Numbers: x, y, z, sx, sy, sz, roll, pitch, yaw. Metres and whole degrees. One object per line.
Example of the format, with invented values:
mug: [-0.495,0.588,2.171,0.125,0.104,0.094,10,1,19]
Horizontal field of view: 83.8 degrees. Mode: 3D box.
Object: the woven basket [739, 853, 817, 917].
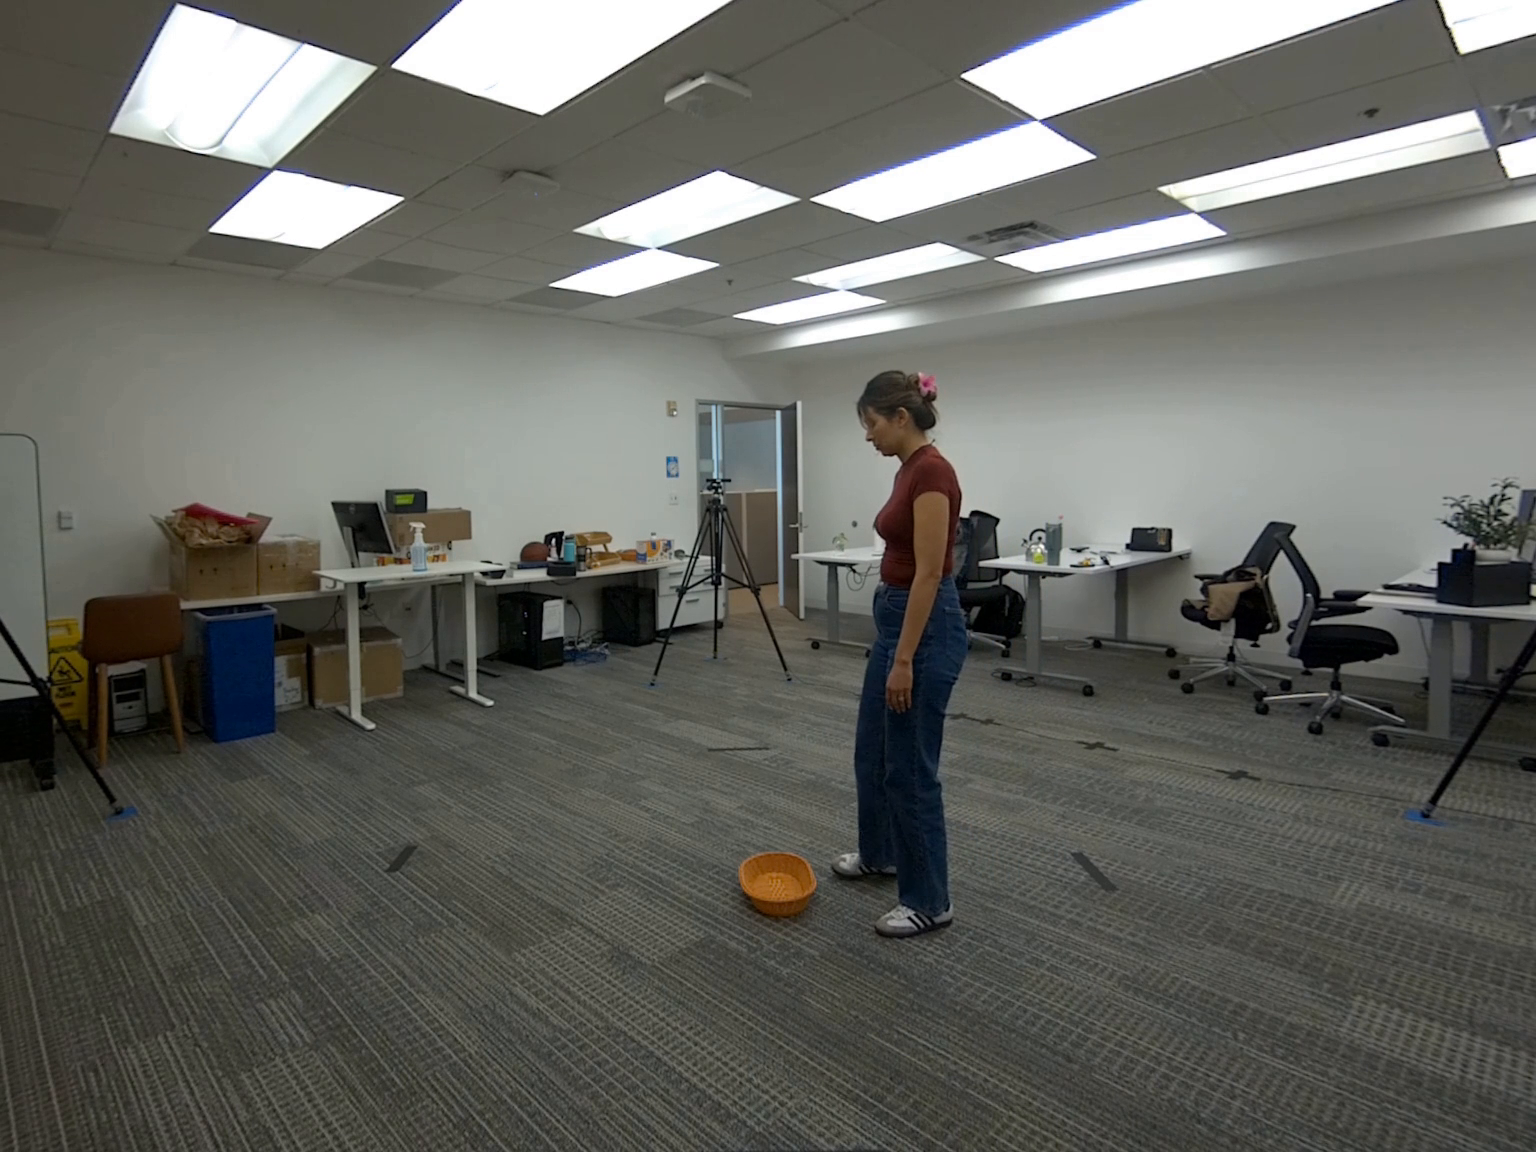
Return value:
woven basket: [0.034,1.036,2.862,0.252,0.073,0.353,-3,6,-3]
